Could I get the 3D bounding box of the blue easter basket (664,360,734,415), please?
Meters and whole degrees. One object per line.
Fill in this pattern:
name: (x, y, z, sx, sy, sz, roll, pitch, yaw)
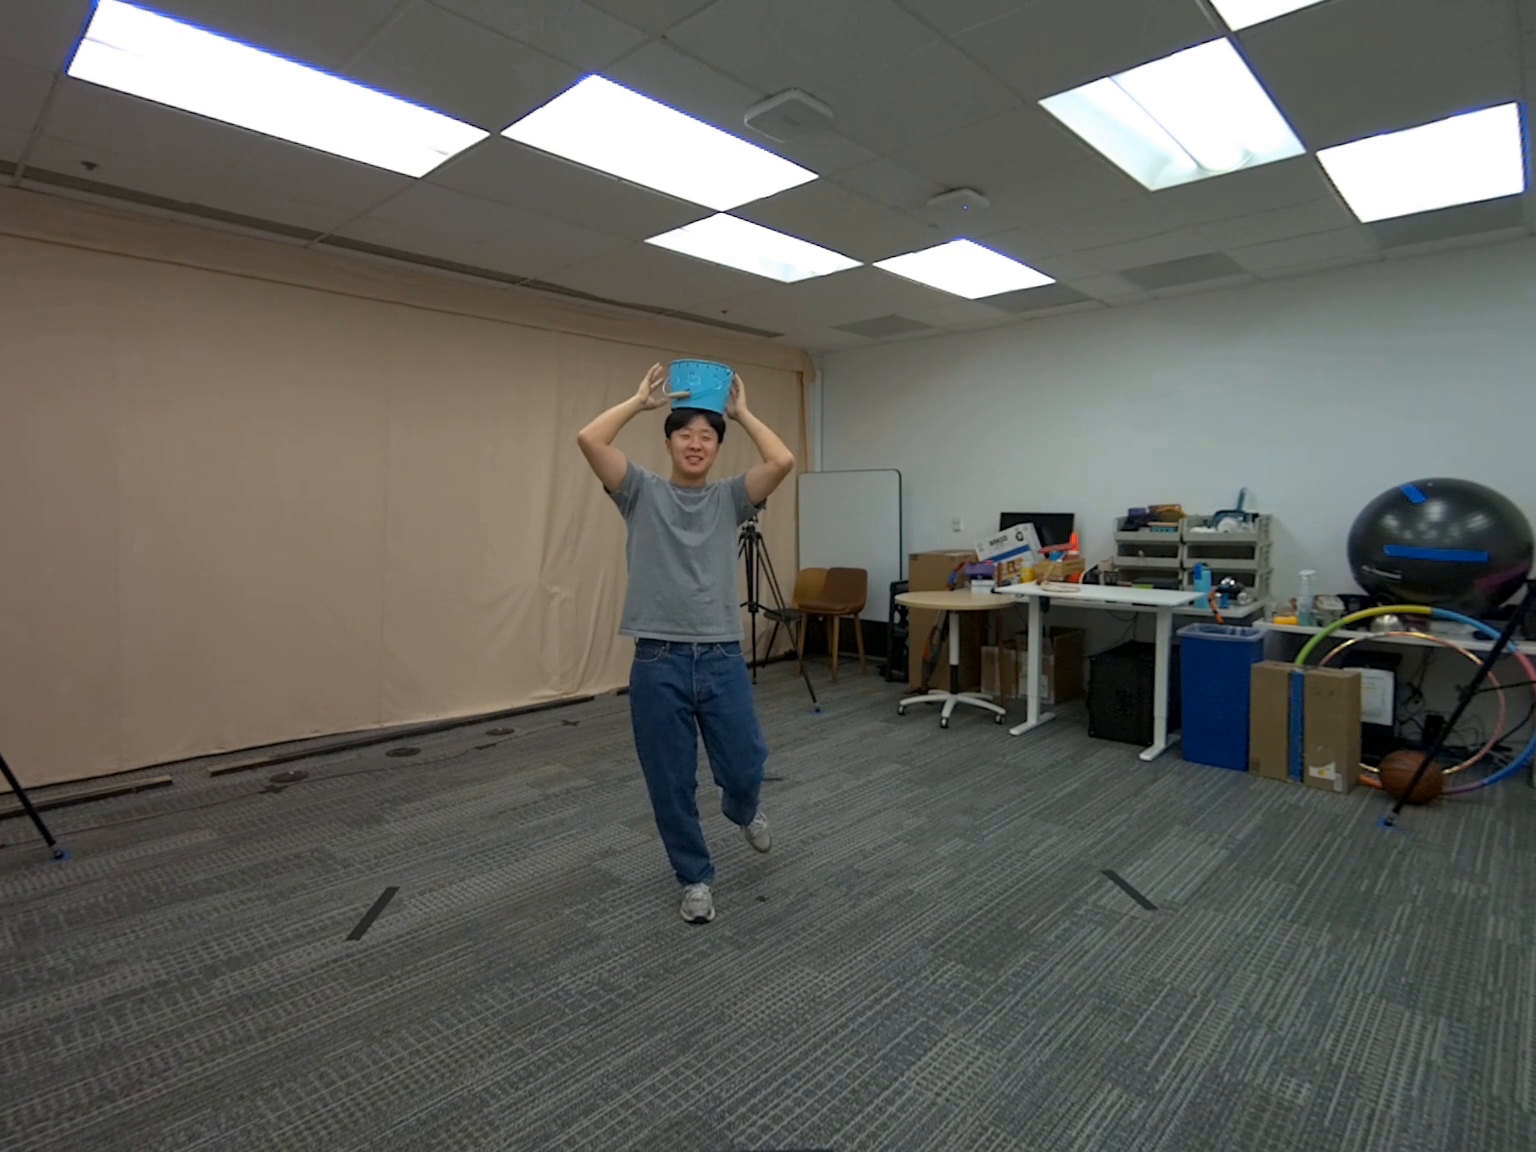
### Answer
blue easter basket: (-0.239, -0.633, 2.871, 0.243, 0.156, 0.243, 6, -2, -2)
